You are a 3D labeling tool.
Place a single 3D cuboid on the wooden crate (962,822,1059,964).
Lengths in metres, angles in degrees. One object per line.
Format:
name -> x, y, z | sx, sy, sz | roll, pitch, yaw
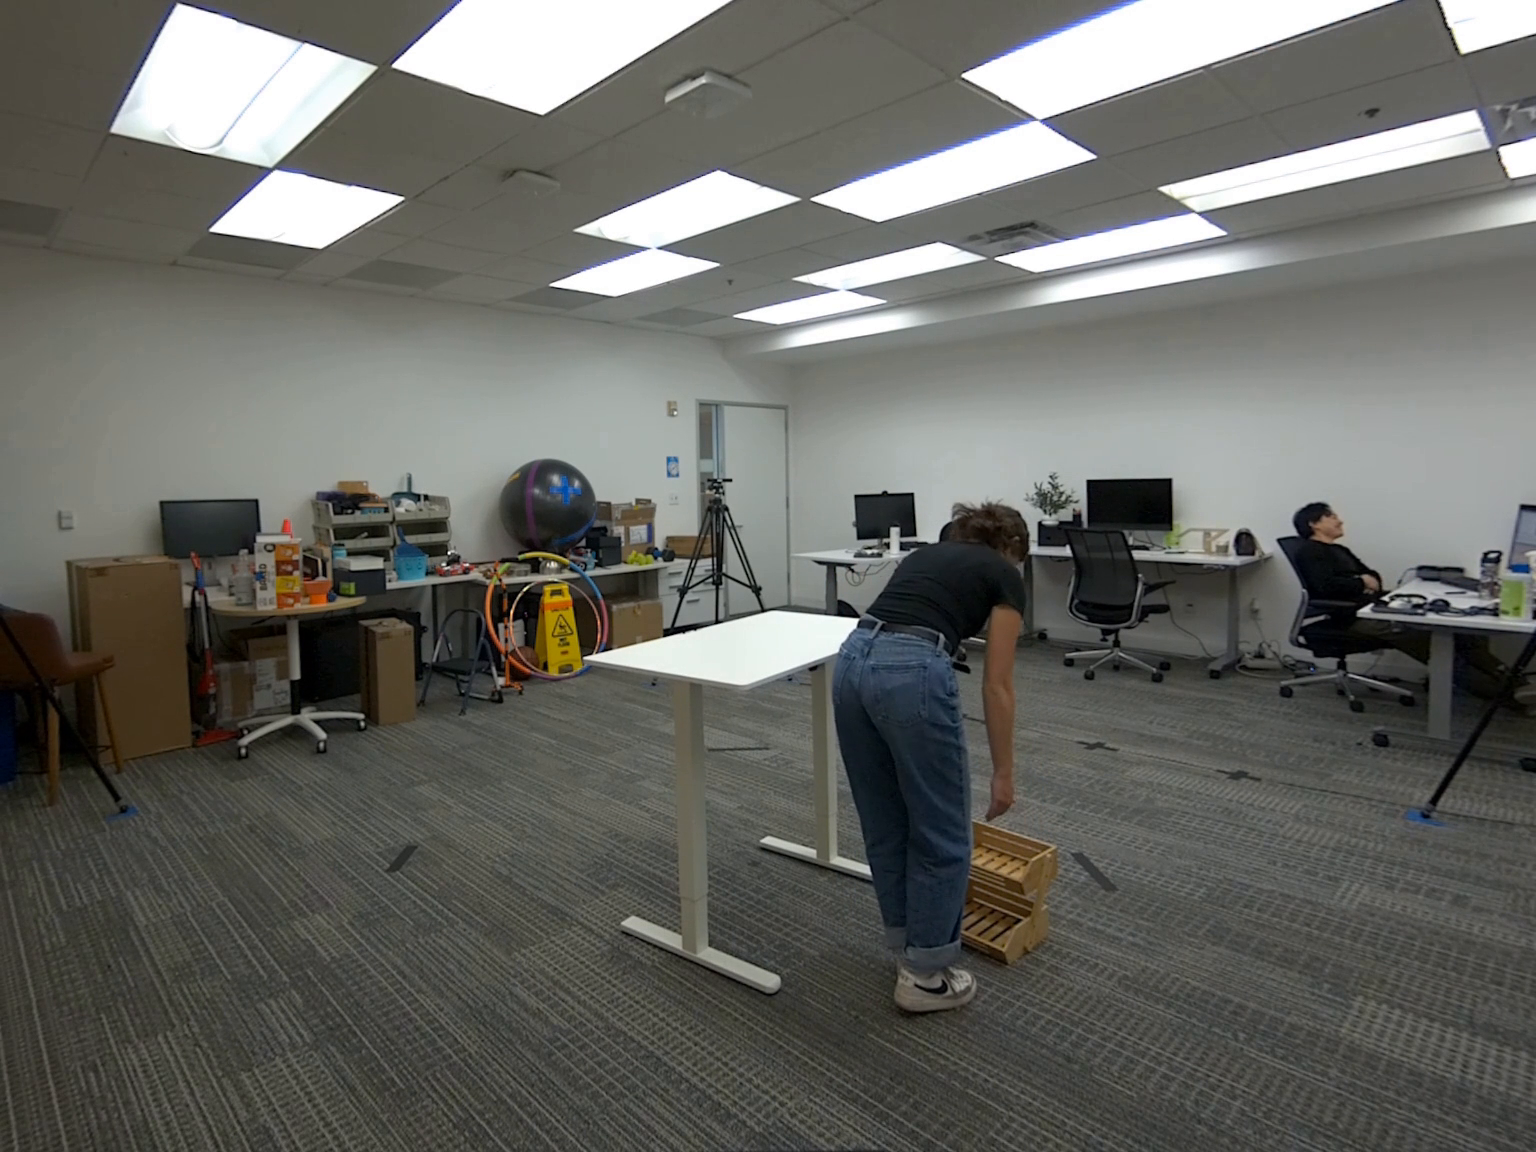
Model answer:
wooden crate -> 0.679, 0.955, 2.621 | 0.294, 0.272, 0.334 | -5, 6, -43
